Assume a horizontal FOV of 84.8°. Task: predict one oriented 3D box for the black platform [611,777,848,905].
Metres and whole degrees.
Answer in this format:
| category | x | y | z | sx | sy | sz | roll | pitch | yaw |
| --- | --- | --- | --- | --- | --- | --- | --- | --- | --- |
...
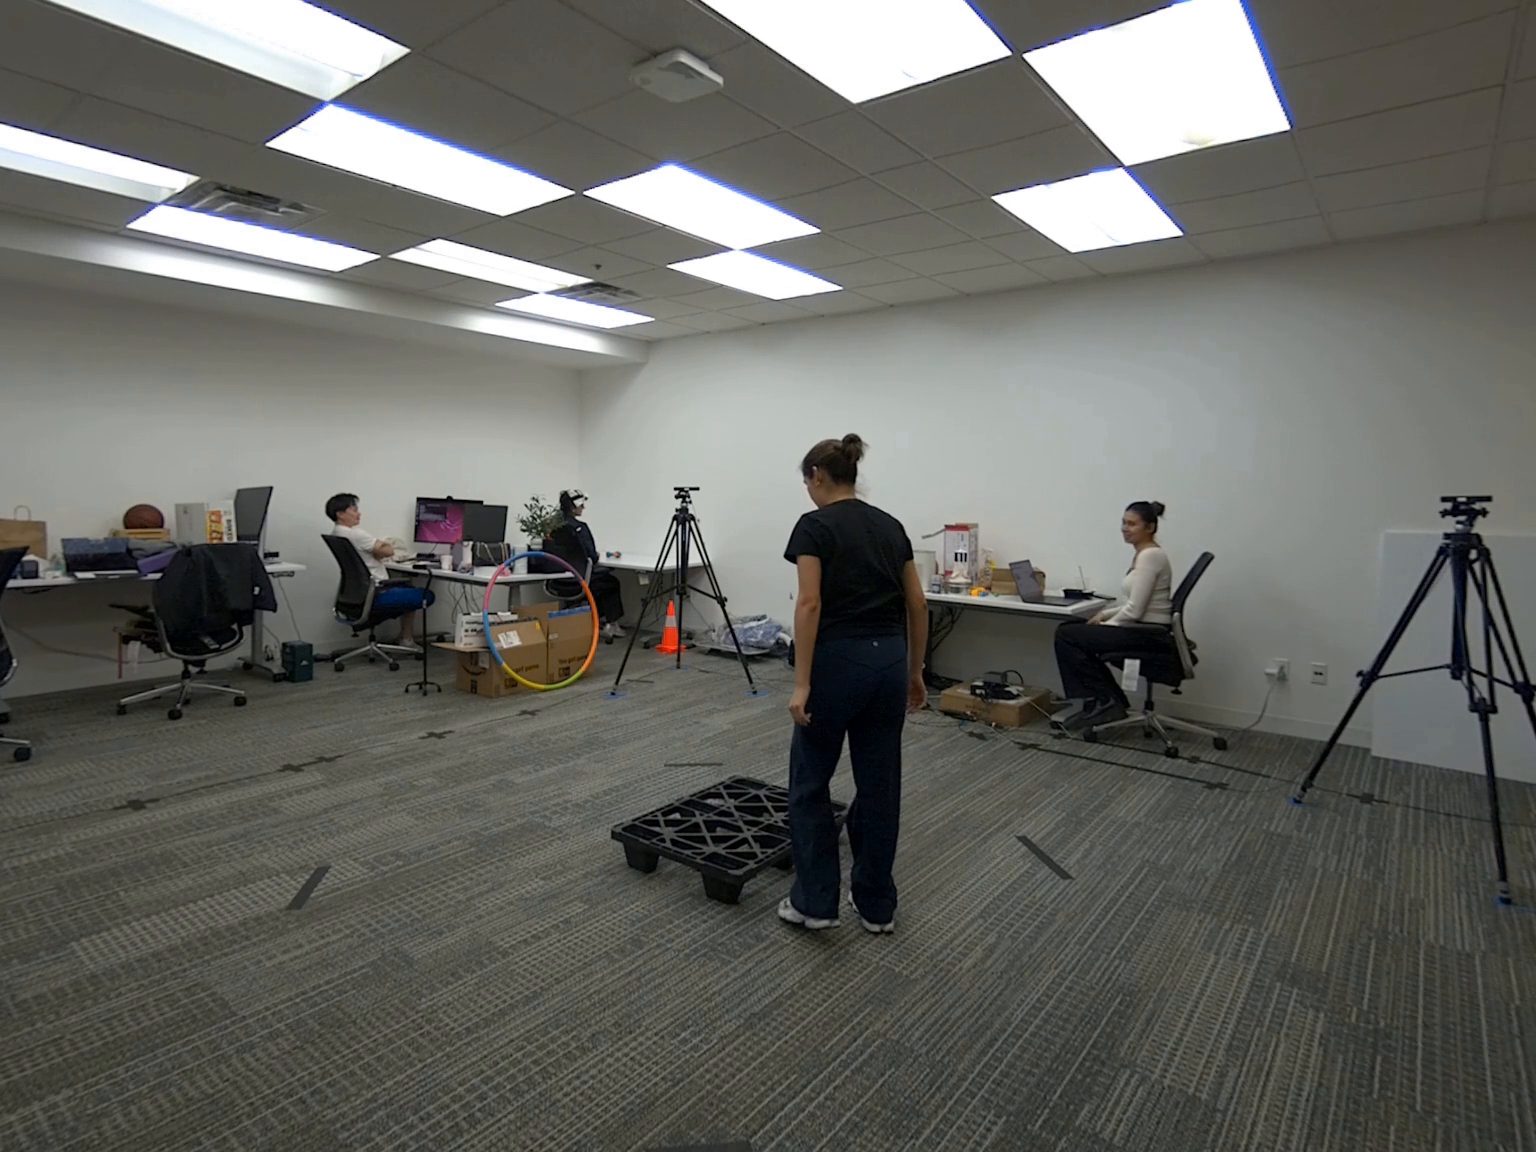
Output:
| category | x | y | z | sx | sy | sz | roll | pitch | yaw |
| --- | --- | --- | --- | --- | --- | --- | --- | --- | --- |
| black platform | -0.095 | 0.986 | 3.269 | 0.625 | 0.143 | 0.783 | 5 | 7 | 36 |
